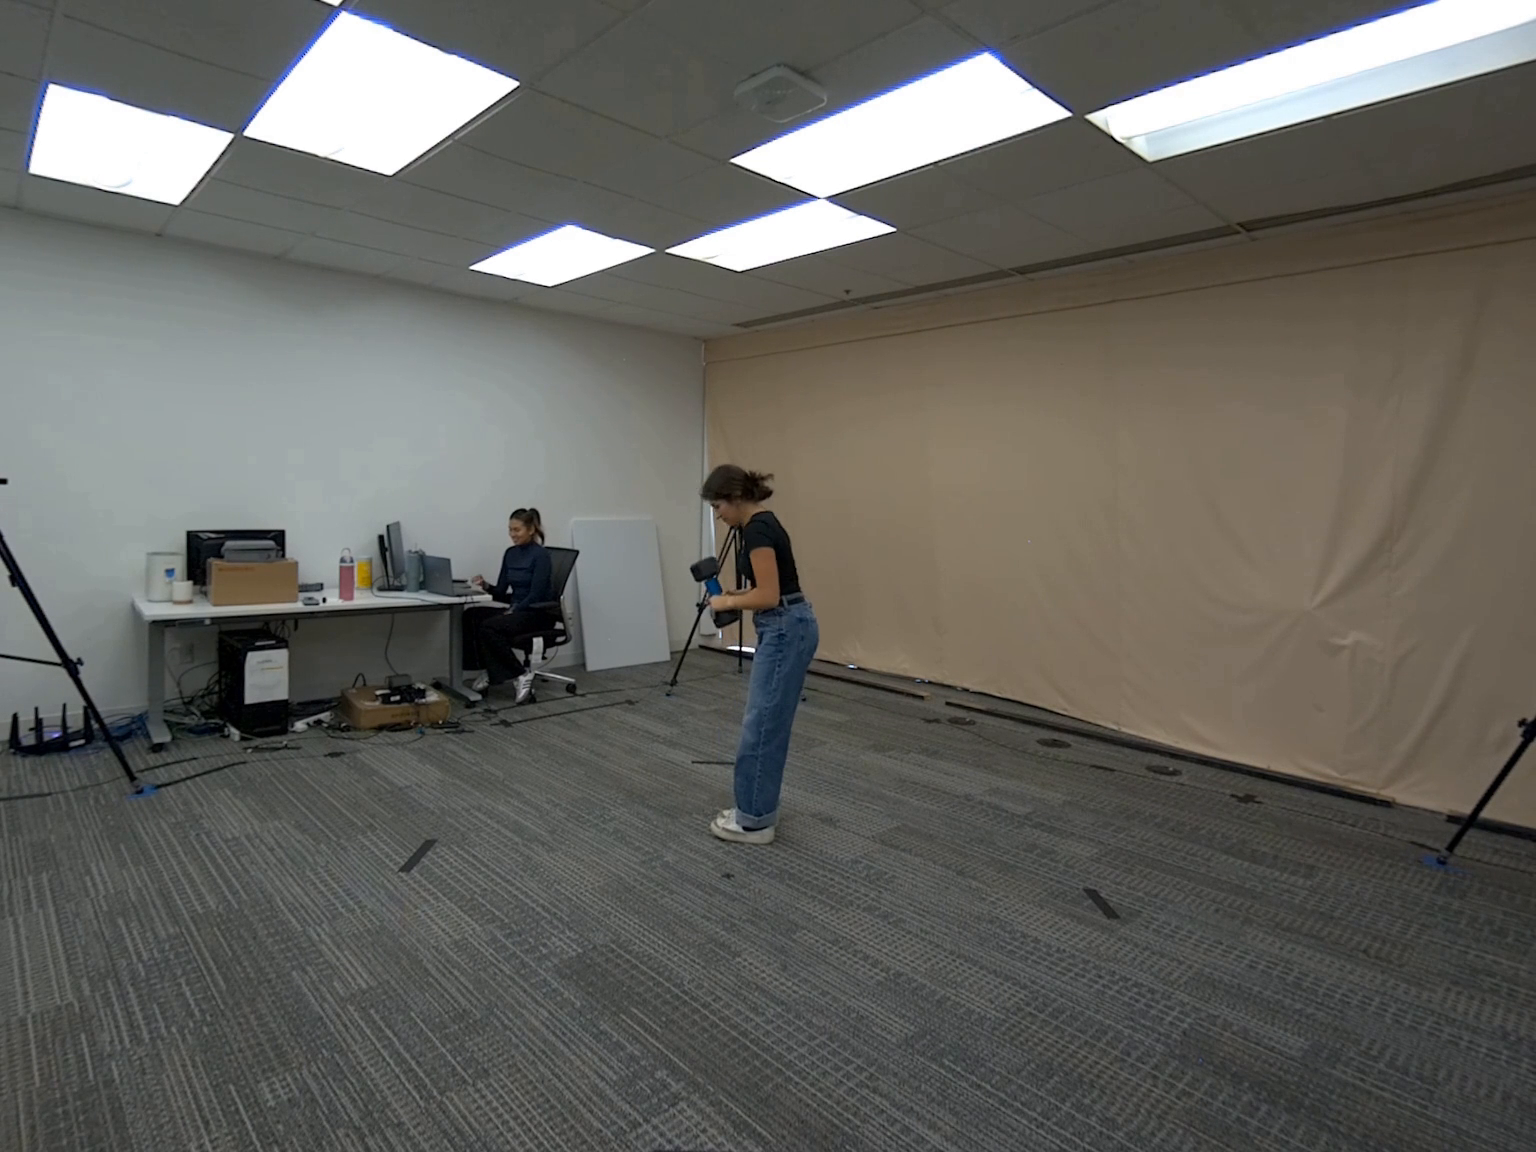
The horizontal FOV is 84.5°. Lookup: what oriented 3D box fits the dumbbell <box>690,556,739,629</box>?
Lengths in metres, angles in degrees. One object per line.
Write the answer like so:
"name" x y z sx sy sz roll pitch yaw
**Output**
"dumbbell" -0.225 0.069 3.523 0.122 0.294 0.109 -24 -3 -15
